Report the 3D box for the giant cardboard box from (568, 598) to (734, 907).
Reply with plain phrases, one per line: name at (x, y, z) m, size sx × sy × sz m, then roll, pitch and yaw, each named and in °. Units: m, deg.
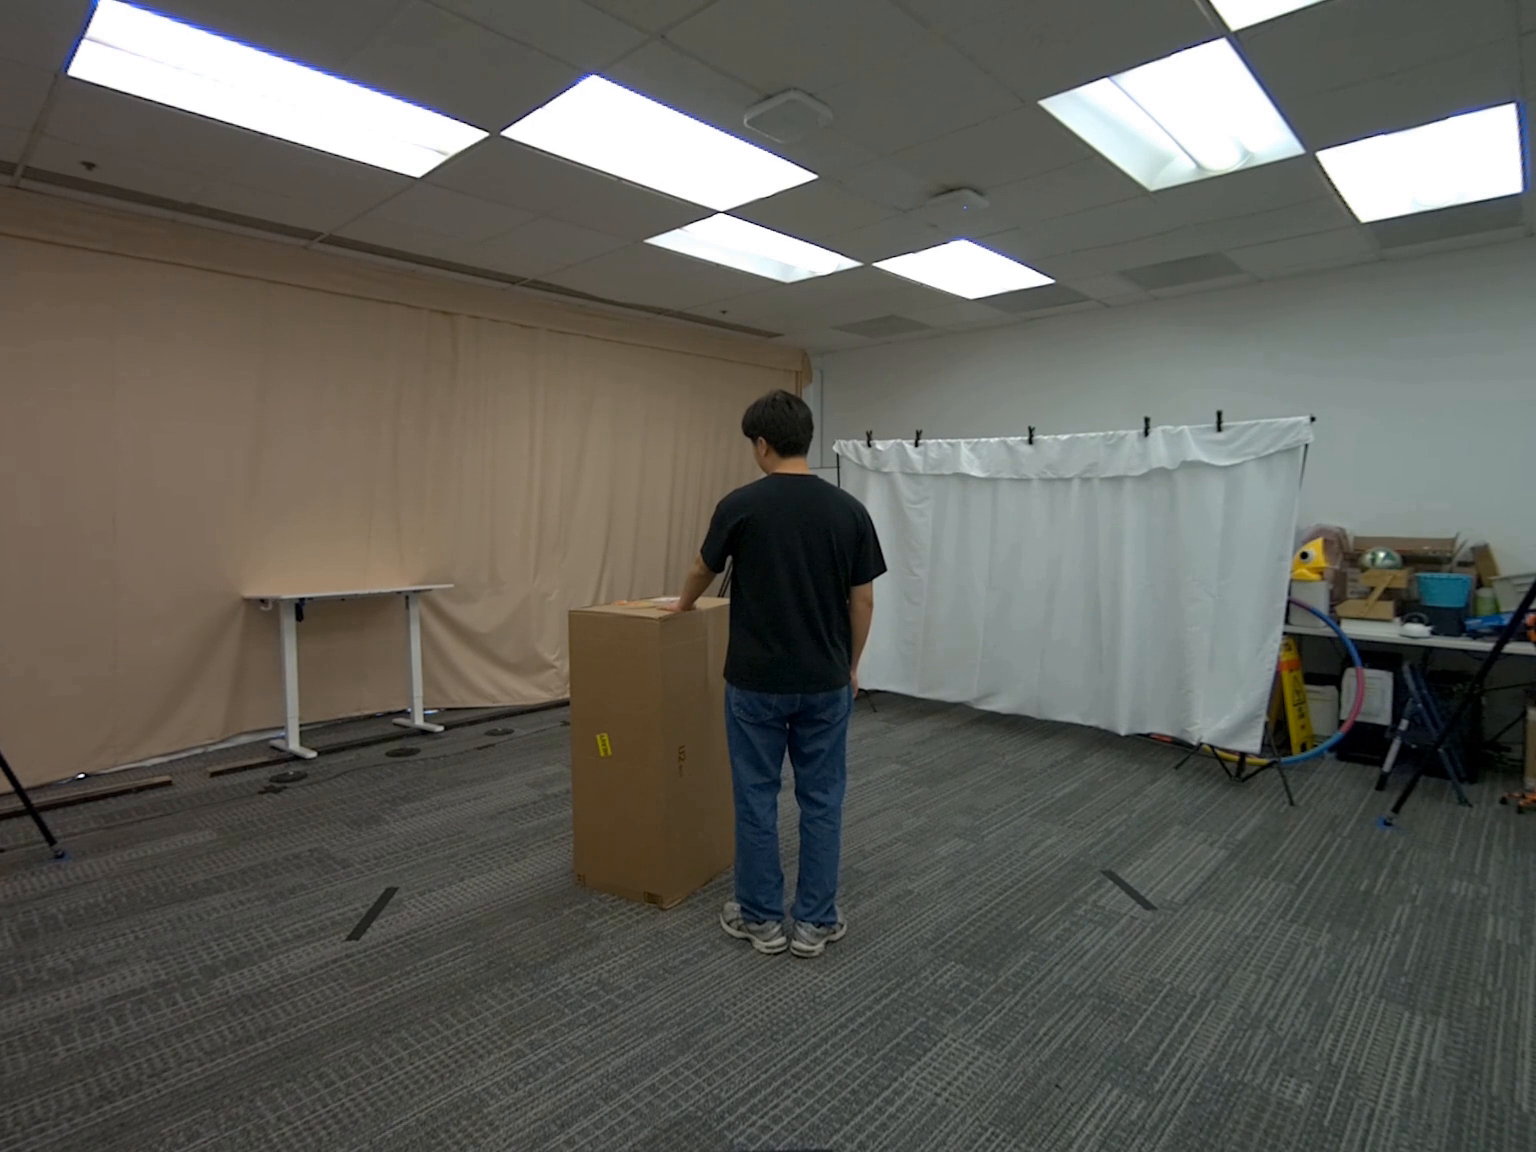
giant cardboard box at (-0.407, 0.614, 3.227) m, size 0.460 × 1.025 × 0.568 m, roll 1°, pitch 3°, yaw 32°
